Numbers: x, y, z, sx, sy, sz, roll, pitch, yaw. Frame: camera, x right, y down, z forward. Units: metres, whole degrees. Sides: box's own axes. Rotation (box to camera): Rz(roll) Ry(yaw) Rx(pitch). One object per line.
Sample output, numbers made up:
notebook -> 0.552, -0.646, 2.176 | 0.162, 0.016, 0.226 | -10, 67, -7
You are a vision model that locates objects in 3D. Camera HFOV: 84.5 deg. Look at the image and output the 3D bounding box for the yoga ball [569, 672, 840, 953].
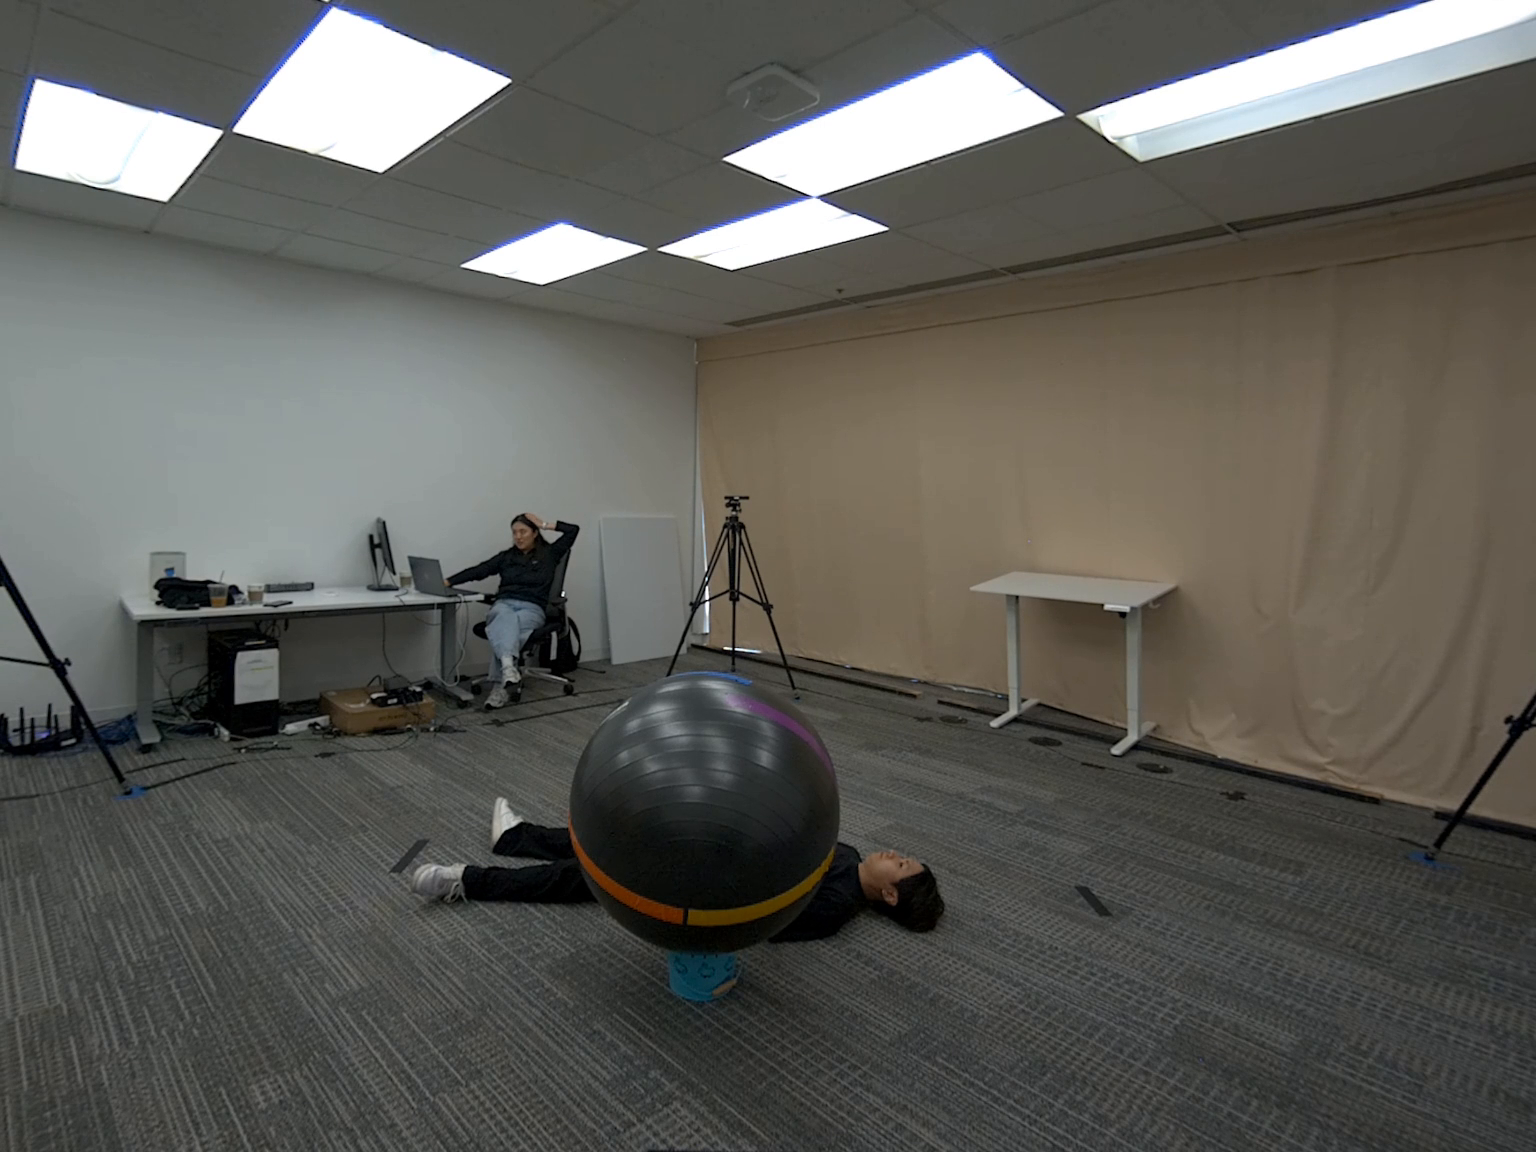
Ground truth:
yoga ball -> -0.184, 0.661, 2.390 | 0.757, 0.756, 0.761 | 1, 4, -1
